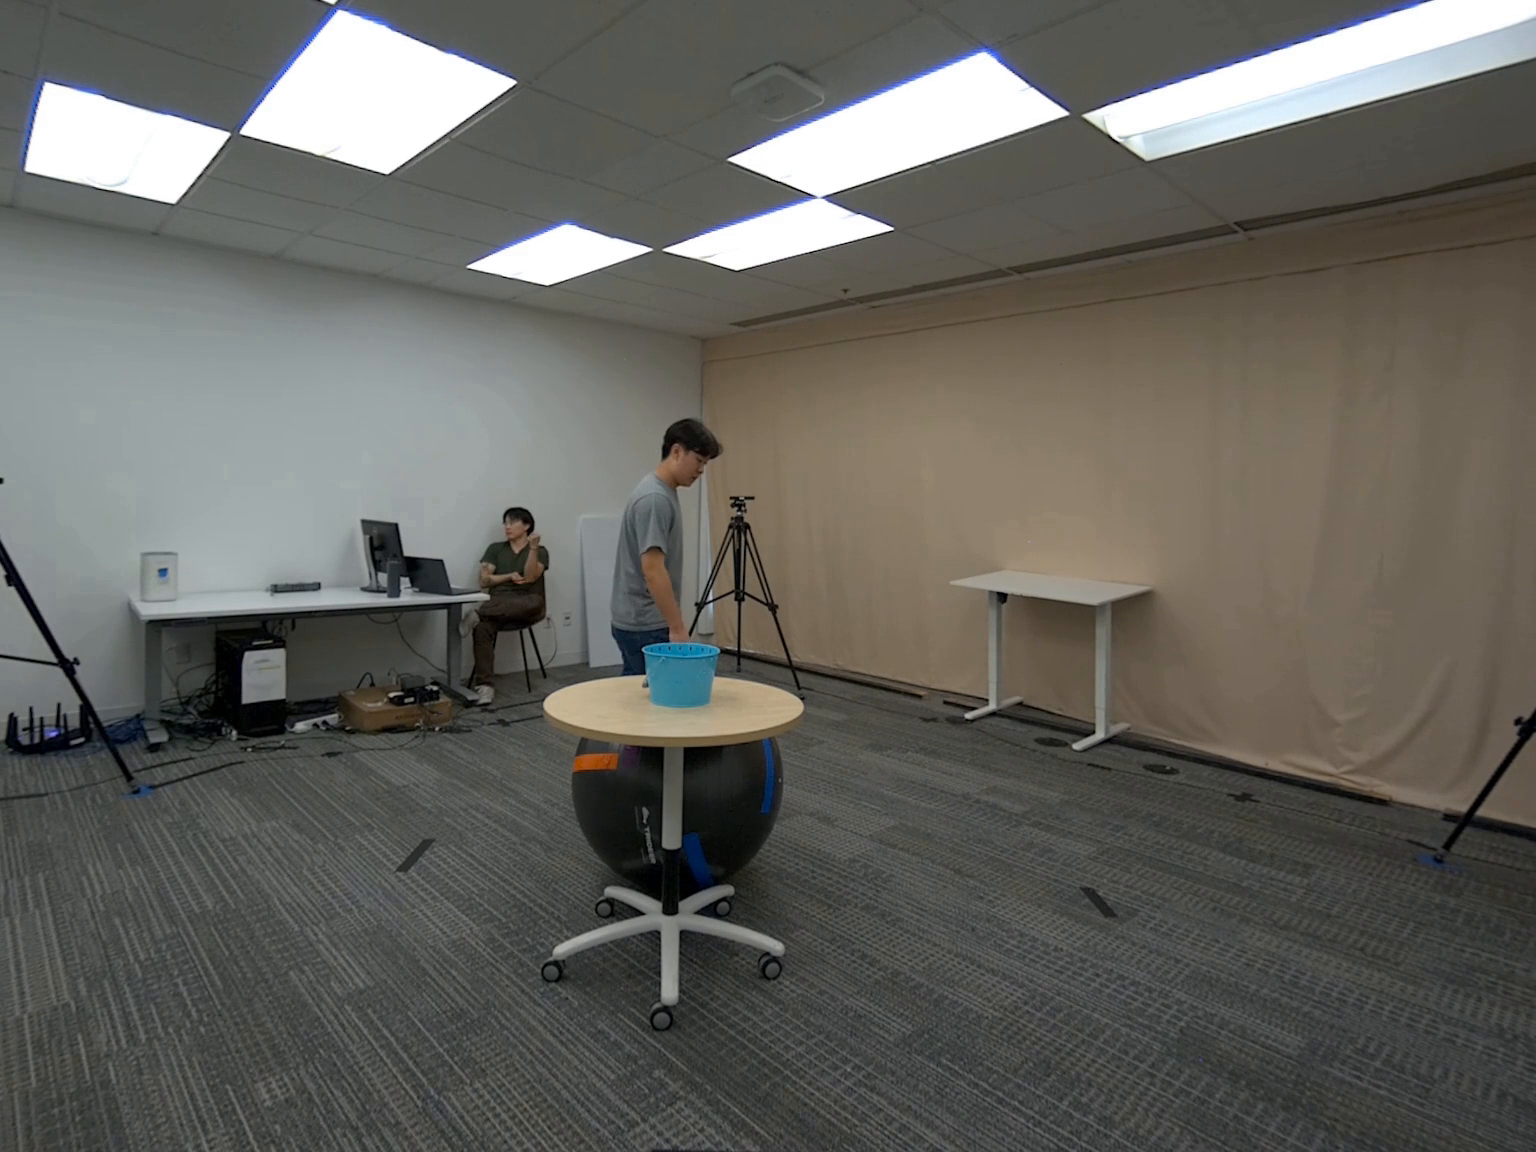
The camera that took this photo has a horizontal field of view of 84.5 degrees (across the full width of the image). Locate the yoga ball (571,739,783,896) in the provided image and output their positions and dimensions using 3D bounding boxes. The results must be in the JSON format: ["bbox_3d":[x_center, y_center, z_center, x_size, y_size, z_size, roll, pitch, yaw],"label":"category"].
[{"bbox_3d":[-0.336,0.734,3.032,0.757,0.756,0.761,1,4,-1],"label":"yoga ball"}]
